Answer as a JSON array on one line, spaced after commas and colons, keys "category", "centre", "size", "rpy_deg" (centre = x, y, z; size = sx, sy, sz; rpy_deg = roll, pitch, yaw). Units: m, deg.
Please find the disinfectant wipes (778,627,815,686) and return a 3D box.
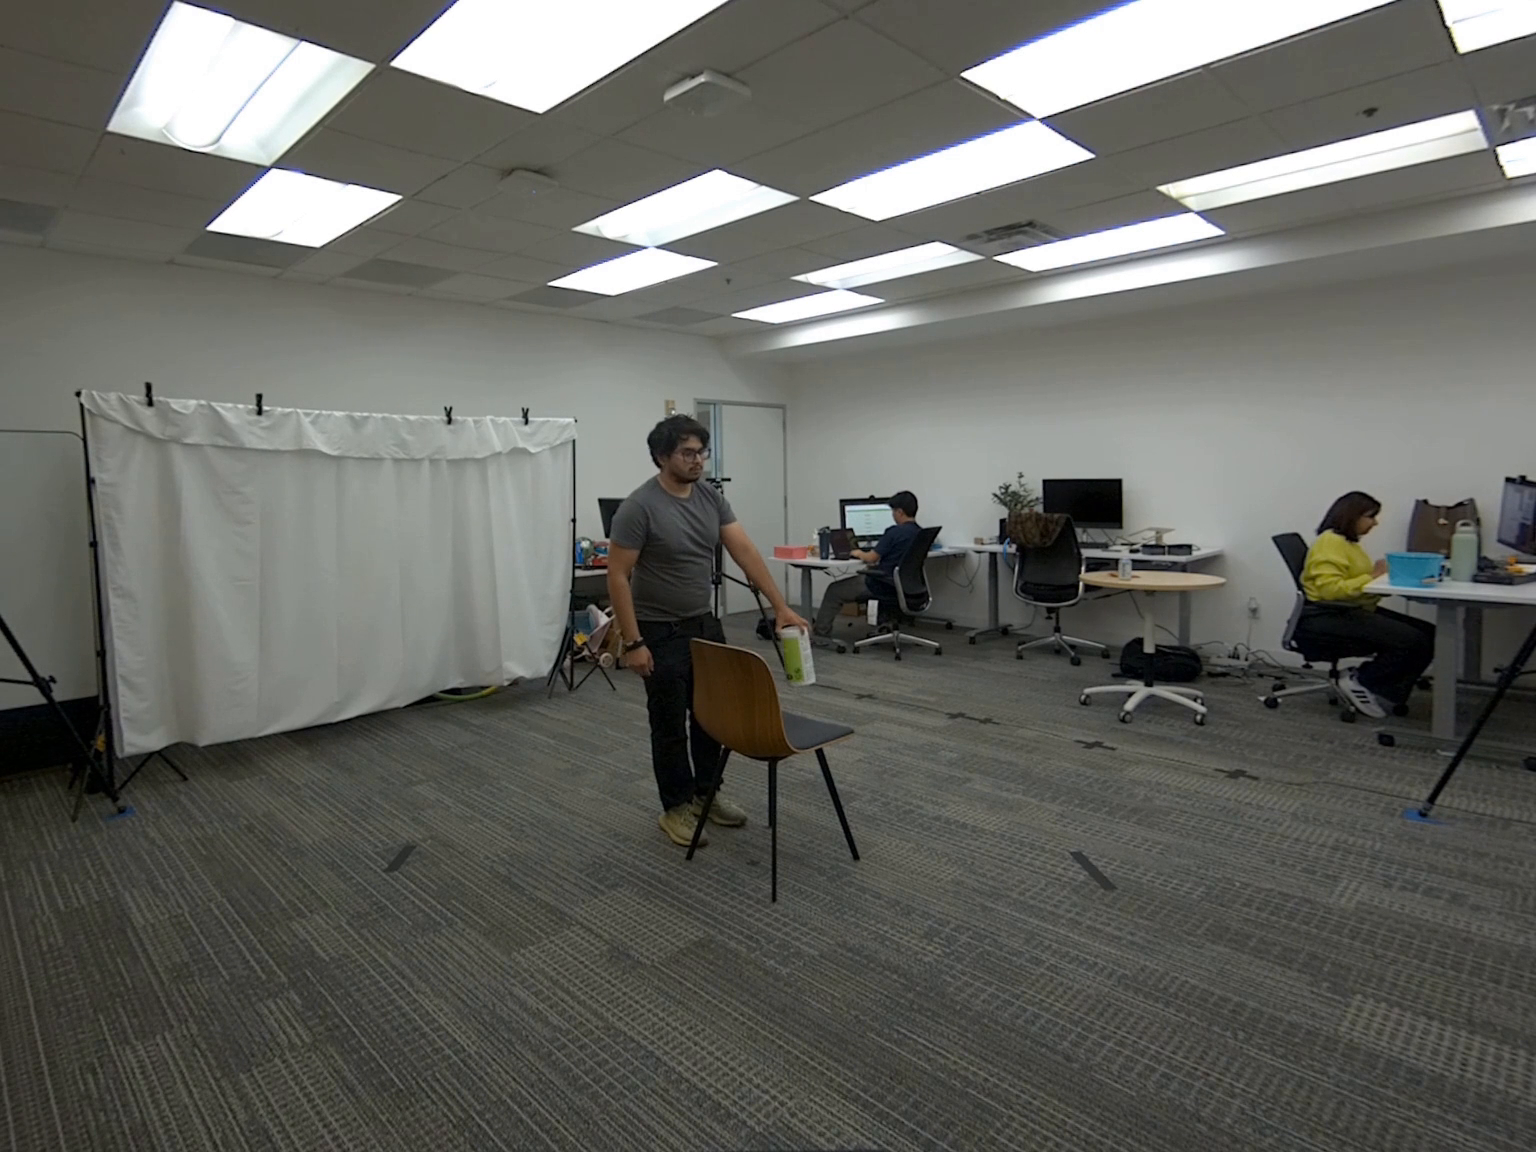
[{"category": "disinfectant wipes", "centre": [0.103, 0.302, 3.242], "size": [0.118, 0.217, 0.118], "rpy_deg": [-7, 4, -1]}]
